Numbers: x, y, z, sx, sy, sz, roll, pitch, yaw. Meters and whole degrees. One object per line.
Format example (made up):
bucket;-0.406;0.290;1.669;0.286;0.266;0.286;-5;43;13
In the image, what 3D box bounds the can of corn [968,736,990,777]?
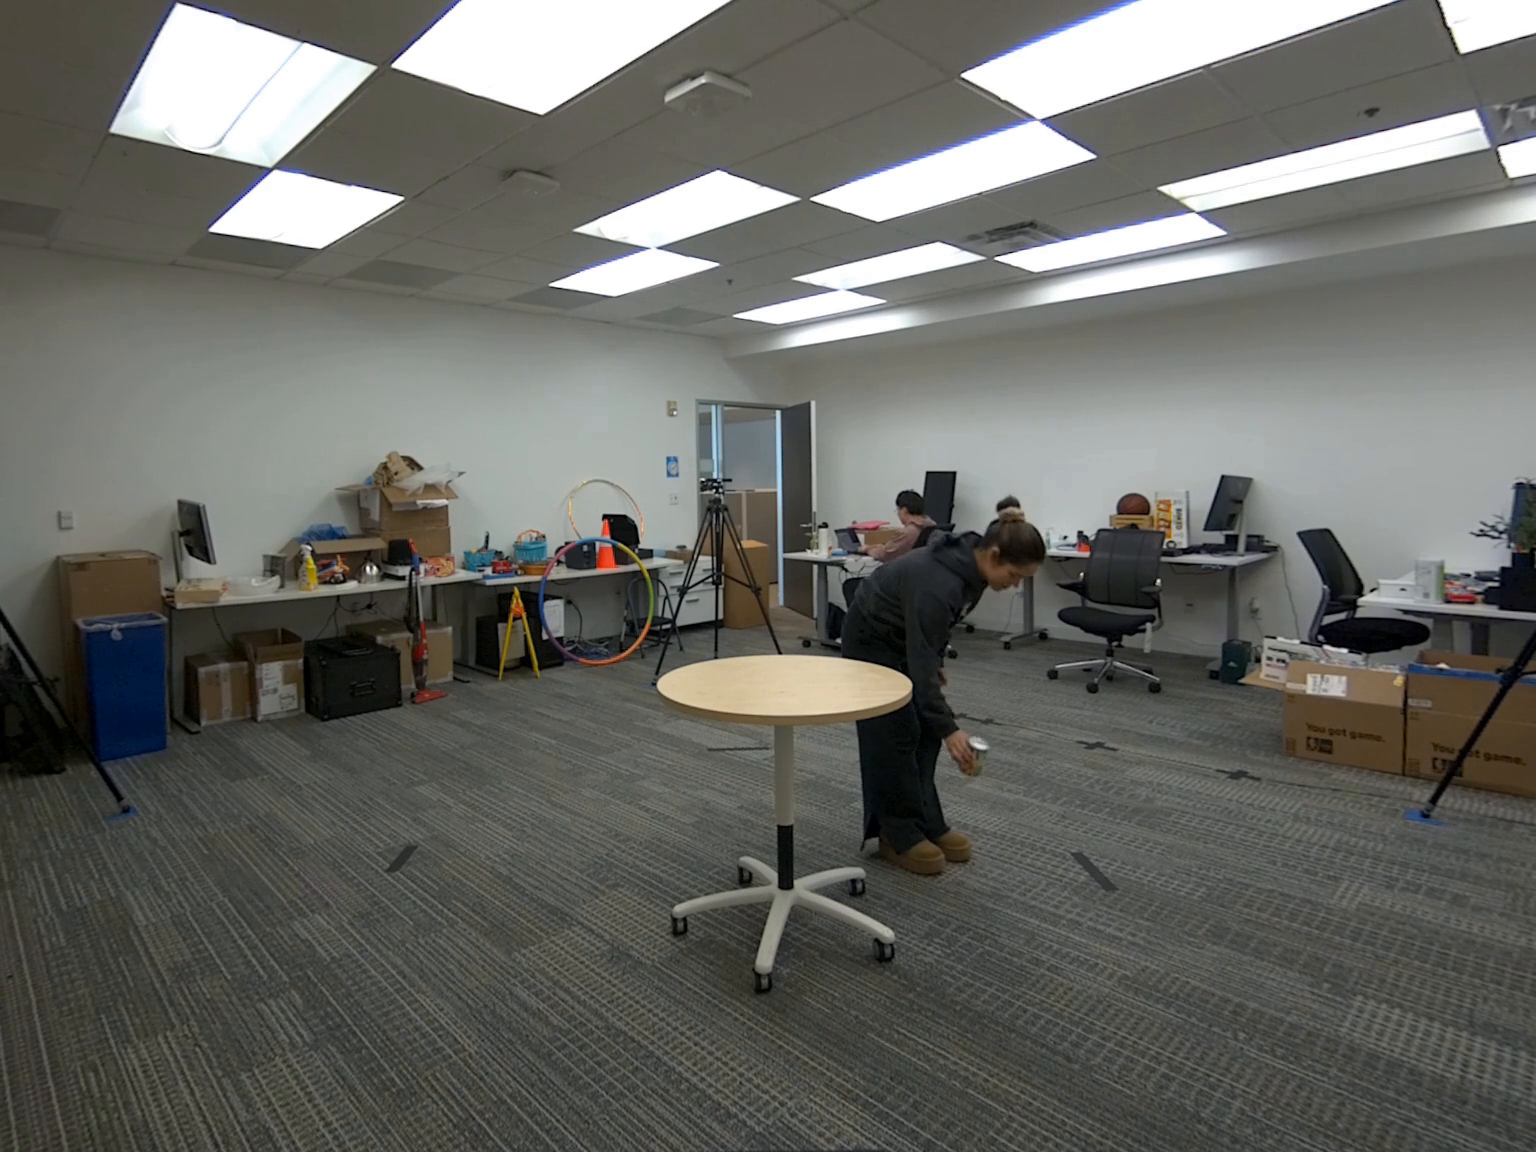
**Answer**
can of corn;0.669;0.561;2.813;0.074;0.109;0.075;-5;19;0
